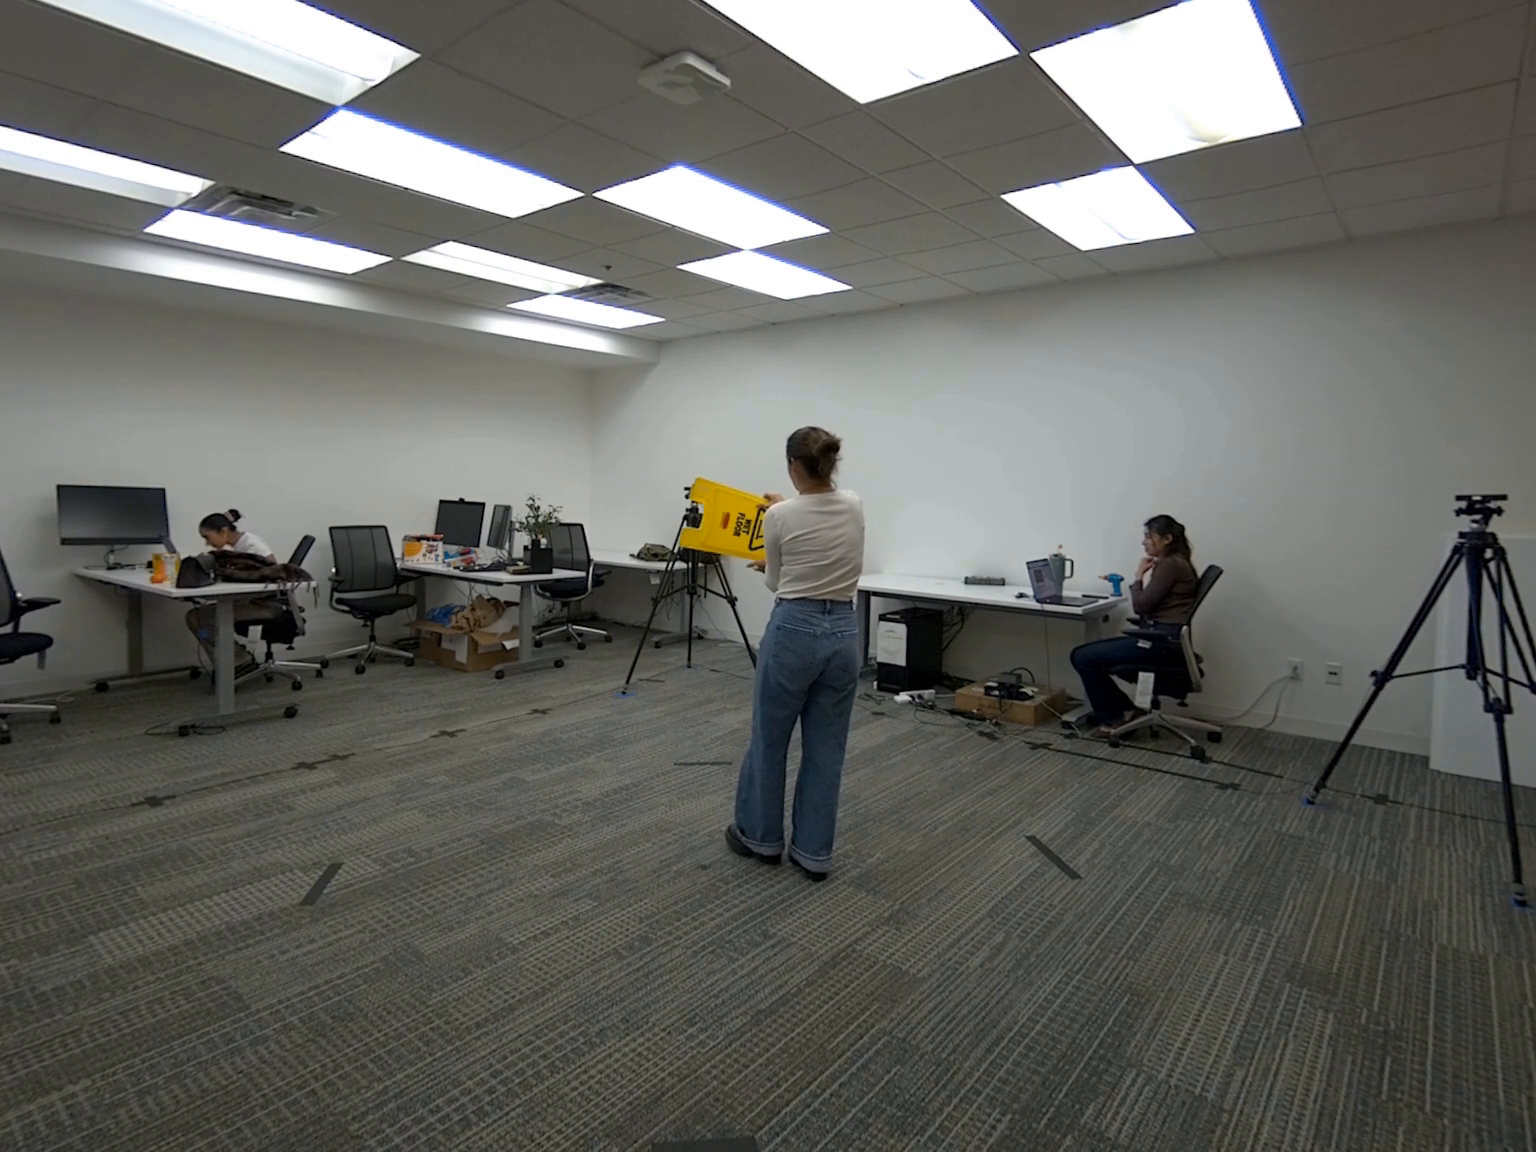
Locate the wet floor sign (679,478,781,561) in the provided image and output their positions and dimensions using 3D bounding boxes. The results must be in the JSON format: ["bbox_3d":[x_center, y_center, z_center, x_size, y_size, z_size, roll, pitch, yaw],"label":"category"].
[{"bbox_3d":[-0.024,-0.184,3.502,0.647,0.282,0.290,13,1,0],"label":"wet floor sign"}]
